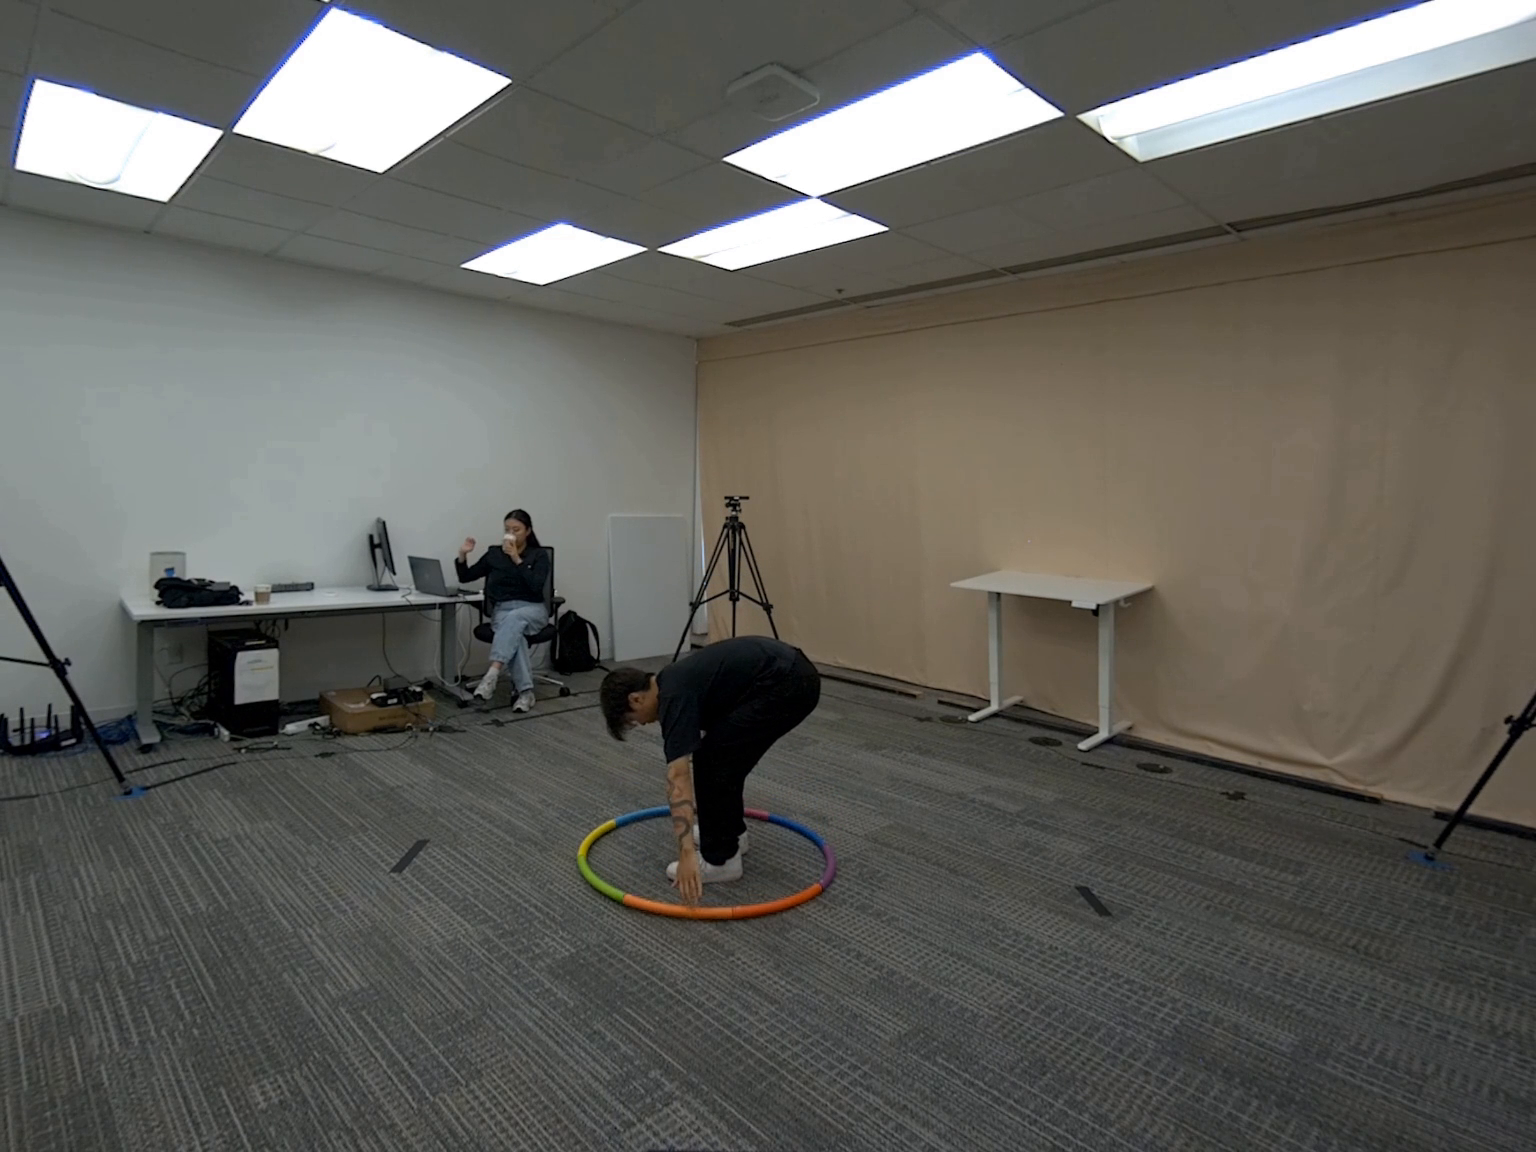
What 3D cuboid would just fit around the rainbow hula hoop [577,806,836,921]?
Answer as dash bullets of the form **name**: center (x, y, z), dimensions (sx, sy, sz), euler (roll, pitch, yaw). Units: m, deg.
- **rainbow hula hoop**: center (-0.238, 1.051, 3.235), dimensions (0.978, 0.035, 0.982), euler (2, 5, -1)
